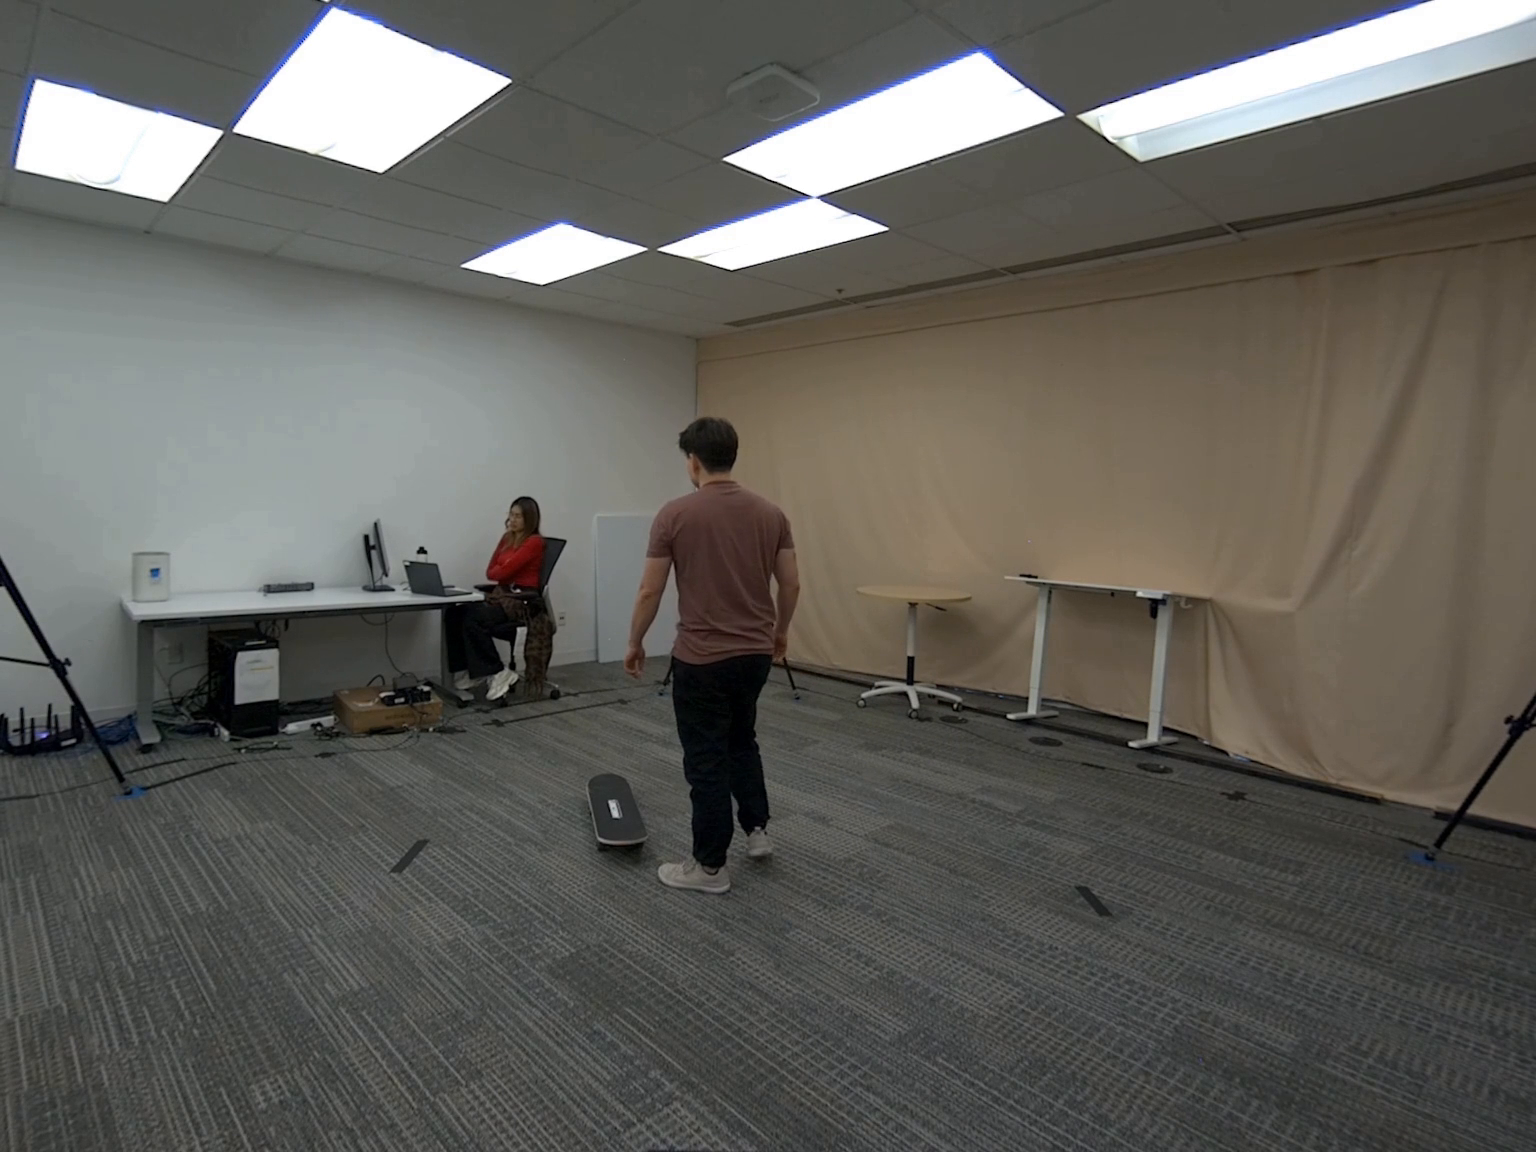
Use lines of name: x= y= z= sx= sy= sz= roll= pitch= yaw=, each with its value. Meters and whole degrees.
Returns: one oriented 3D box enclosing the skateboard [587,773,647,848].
skateboard: x=-0.655 y=1.007 z=3.511 sx=0.191 sy=0.110 sz=0.796 roll=0 pitch=6 yaw=-15
